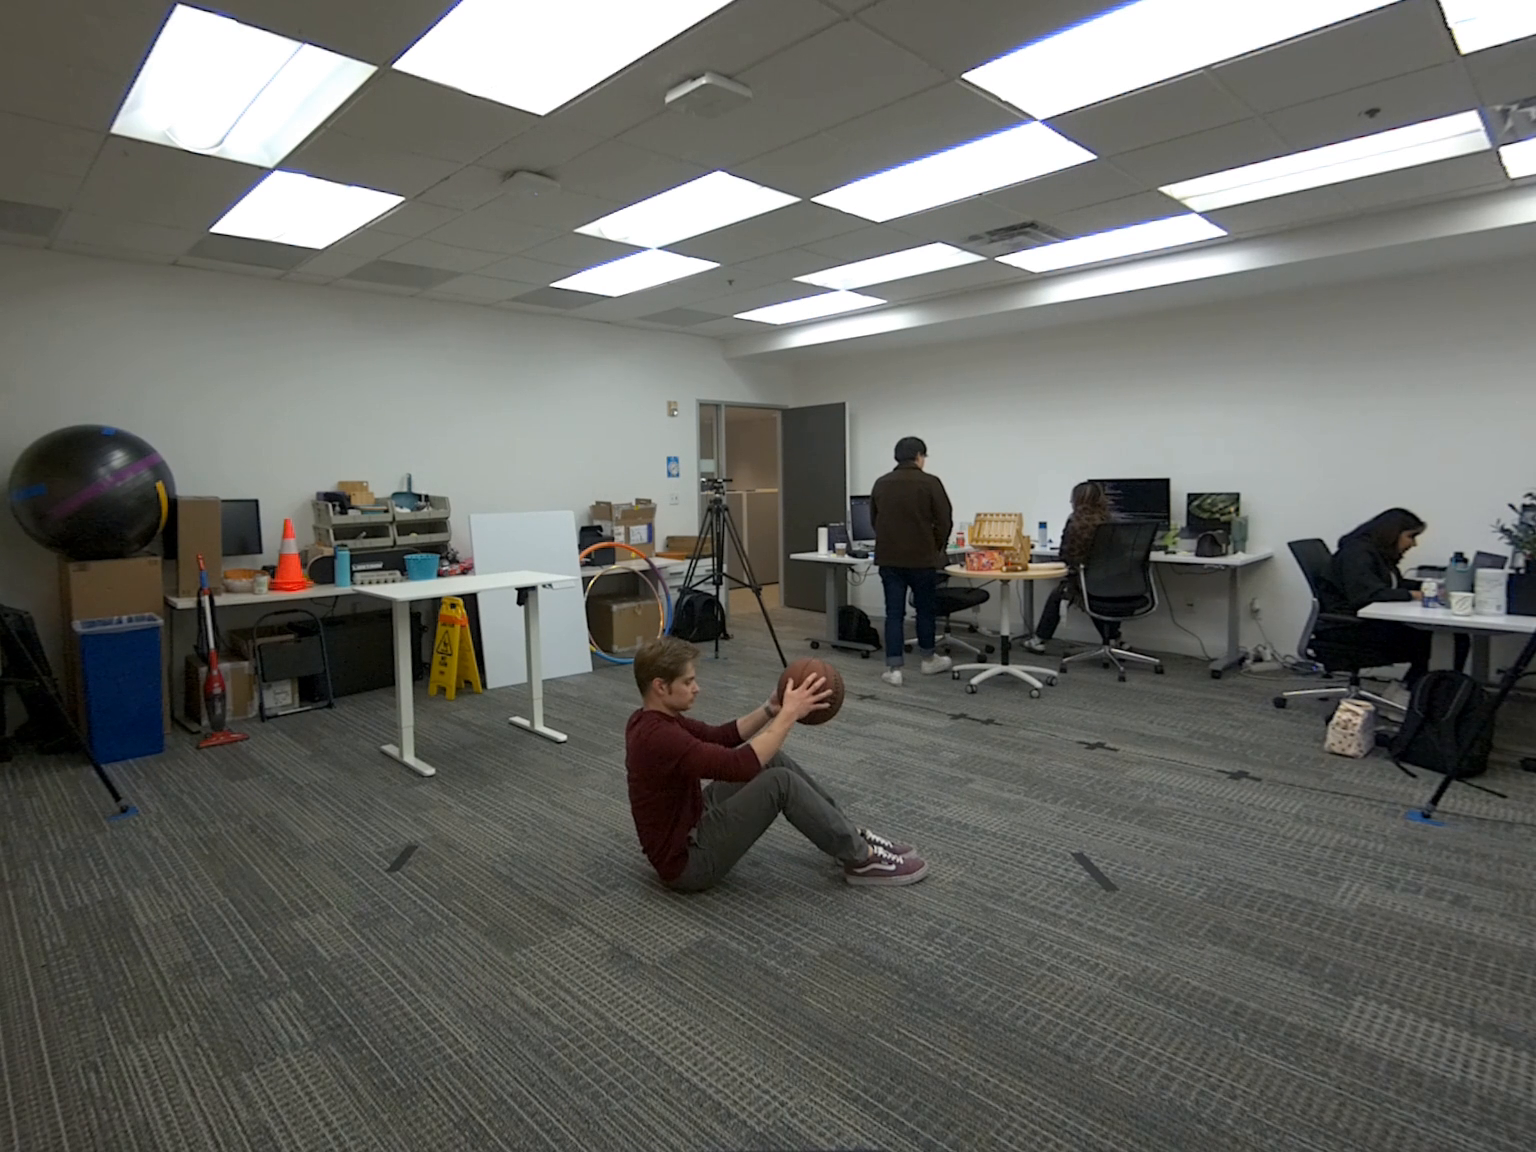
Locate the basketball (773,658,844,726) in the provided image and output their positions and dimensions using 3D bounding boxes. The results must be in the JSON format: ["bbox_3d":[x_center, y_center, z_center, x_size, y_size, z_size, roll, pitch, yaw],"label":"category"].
[{"bbox_3d":[0.151,0.430,3.038,0.236,0.235,0.237,-1,5,-2],"label":"basketball"}]
